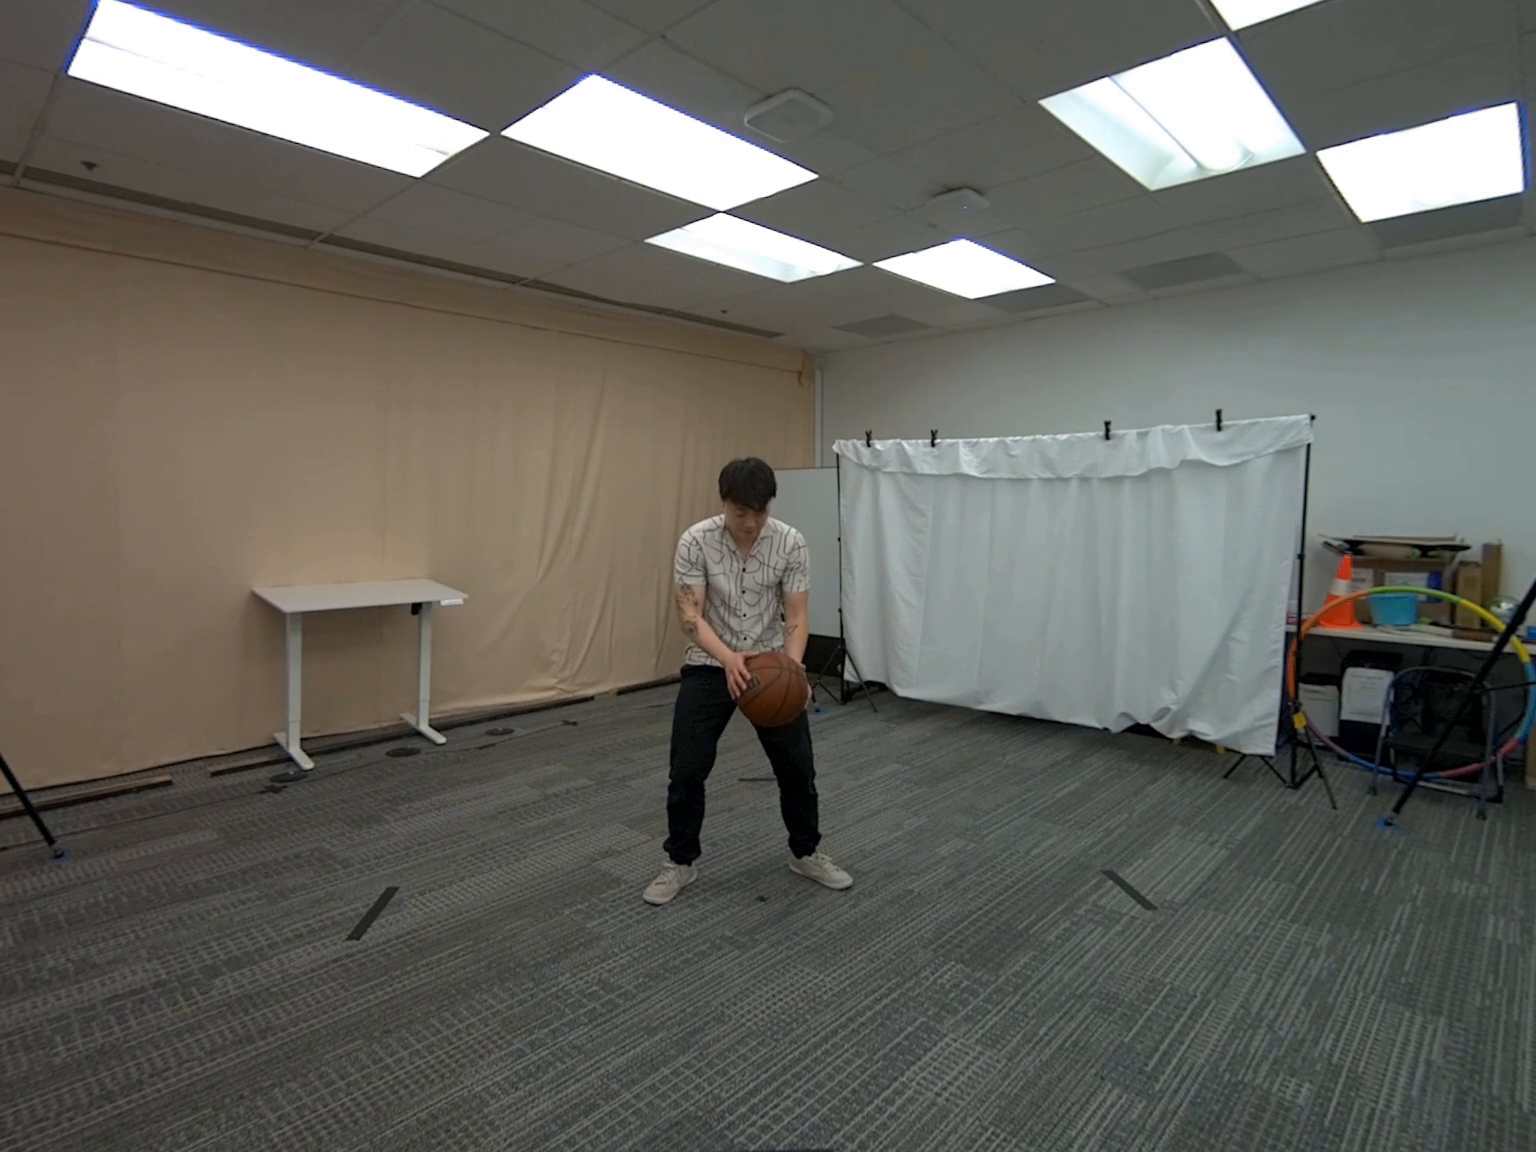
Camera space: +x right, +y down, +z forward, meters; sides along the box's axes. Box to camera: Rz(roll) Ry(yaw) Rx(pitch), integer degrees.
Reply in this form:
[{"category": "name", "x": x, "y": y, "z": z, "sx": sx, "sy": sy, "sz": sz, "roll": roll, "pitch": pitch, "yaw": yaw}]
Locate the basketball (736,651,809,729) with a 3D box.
[{"category": "basketball", "x": 0.008, "y": 0.357, "z": 2.697, "sx": 0.236, "sy": 0.235, "sz": 0.237, "roll": 0, "pitch": 4, "yaw": -2}]
